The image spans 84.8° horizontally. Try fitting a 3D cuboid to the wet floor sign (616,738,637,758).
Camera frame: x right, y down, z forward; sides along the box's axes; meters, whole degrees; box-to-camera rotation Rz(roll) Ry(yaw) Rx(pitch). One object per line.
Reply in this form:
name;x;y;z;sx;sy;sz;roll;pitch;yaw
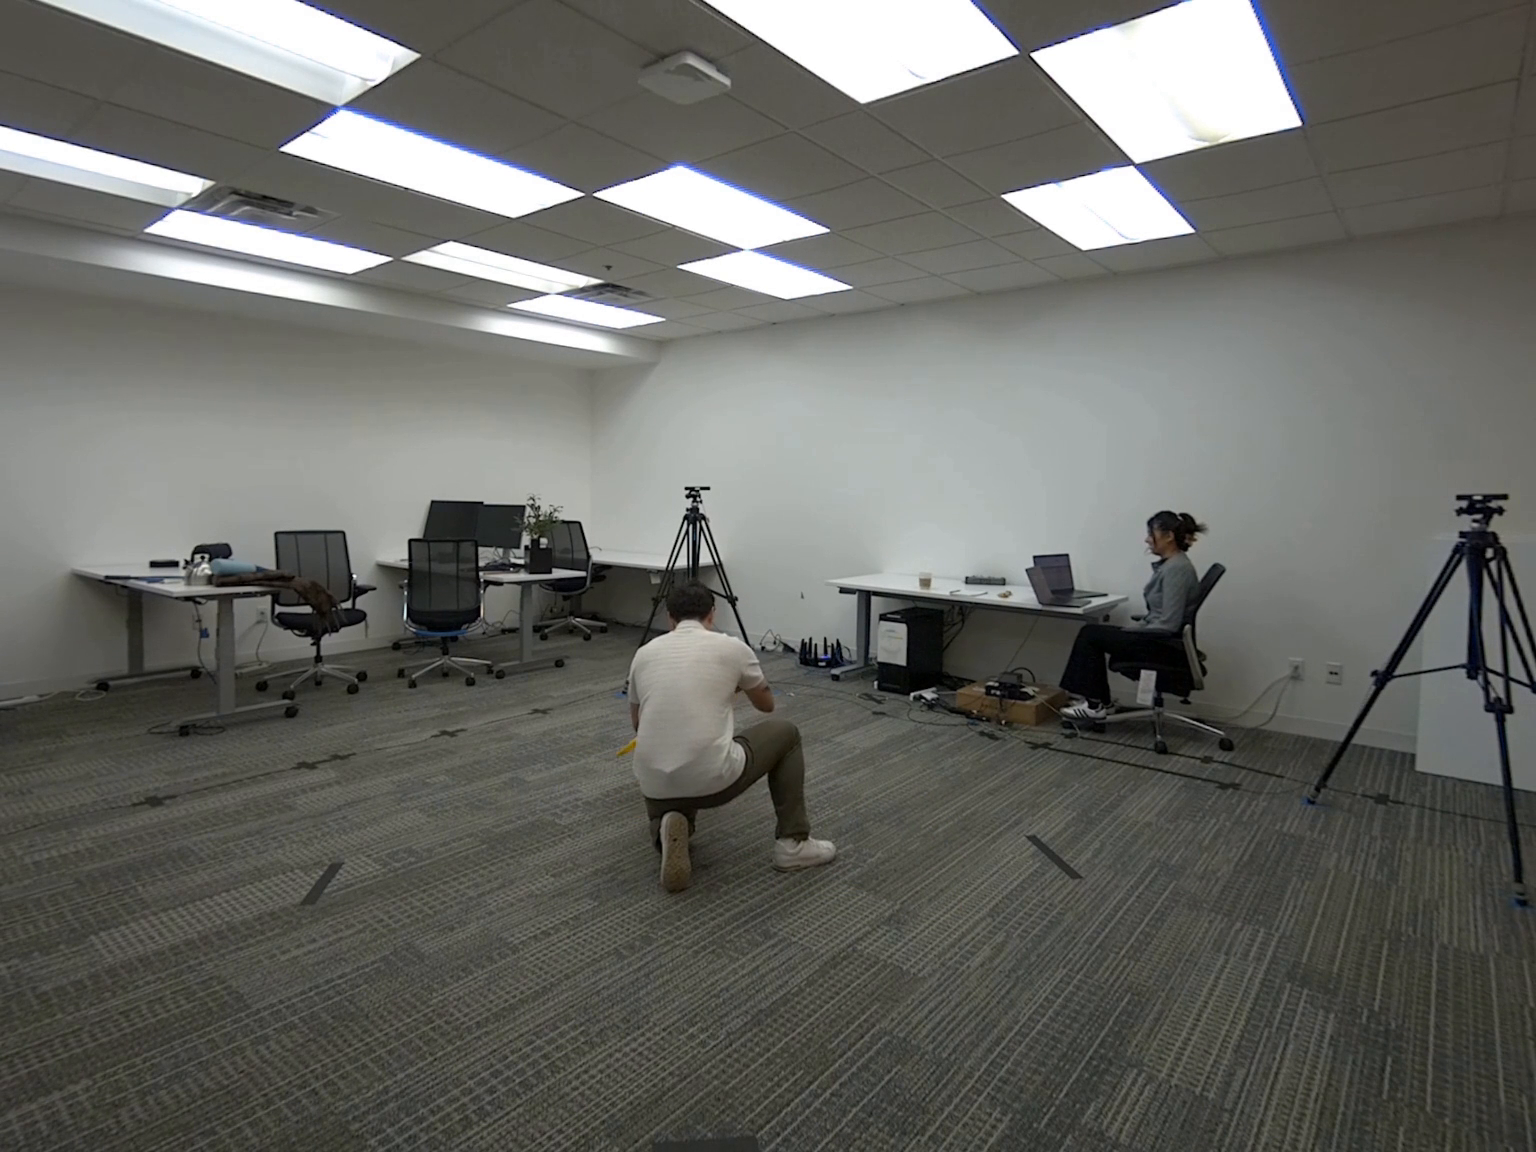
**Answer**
wet floor sign;-0.348;0.661;3.752;0.299;0.644;0.274;48;25;22
